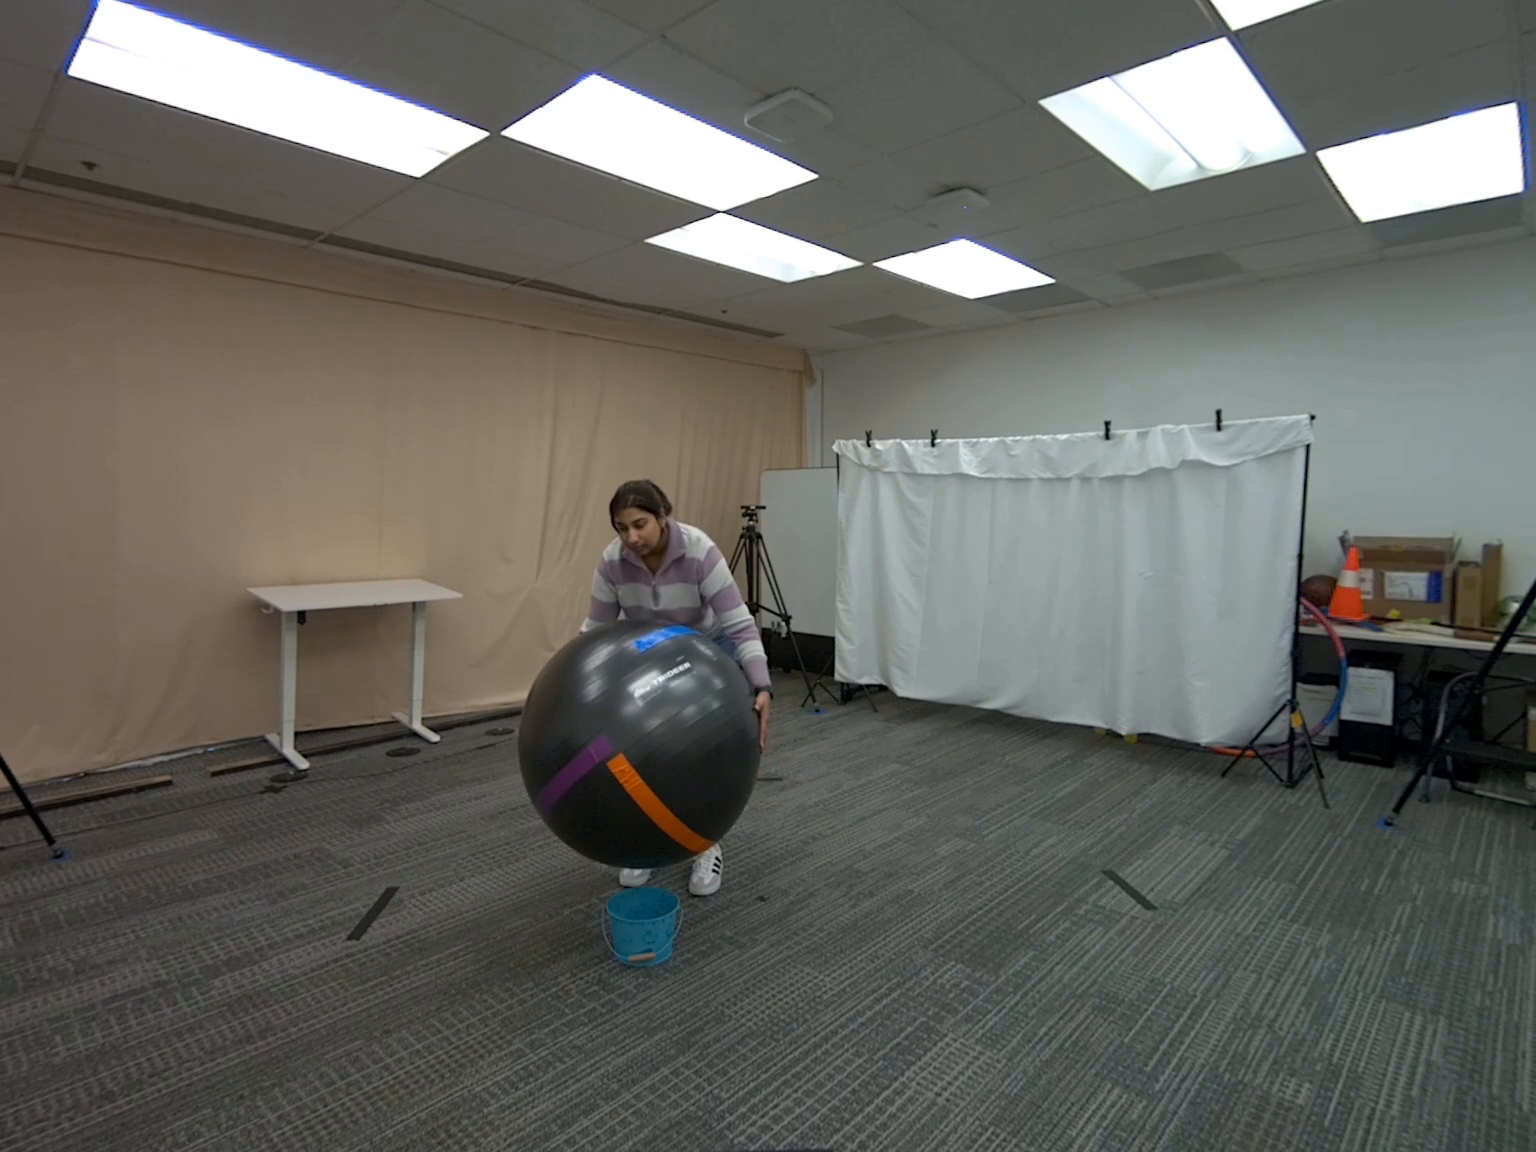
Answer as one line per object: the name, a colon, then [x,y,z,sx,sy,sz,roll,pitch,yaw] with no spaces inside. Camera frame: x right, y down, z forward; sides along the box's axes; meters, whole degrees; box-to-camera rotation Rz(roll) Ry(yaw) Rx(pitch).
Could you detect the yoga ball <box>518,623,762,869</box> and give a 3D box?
yoga ball: [-0.394,0.508,2.626,0.757,0.756,0.761,0,4,-2]
